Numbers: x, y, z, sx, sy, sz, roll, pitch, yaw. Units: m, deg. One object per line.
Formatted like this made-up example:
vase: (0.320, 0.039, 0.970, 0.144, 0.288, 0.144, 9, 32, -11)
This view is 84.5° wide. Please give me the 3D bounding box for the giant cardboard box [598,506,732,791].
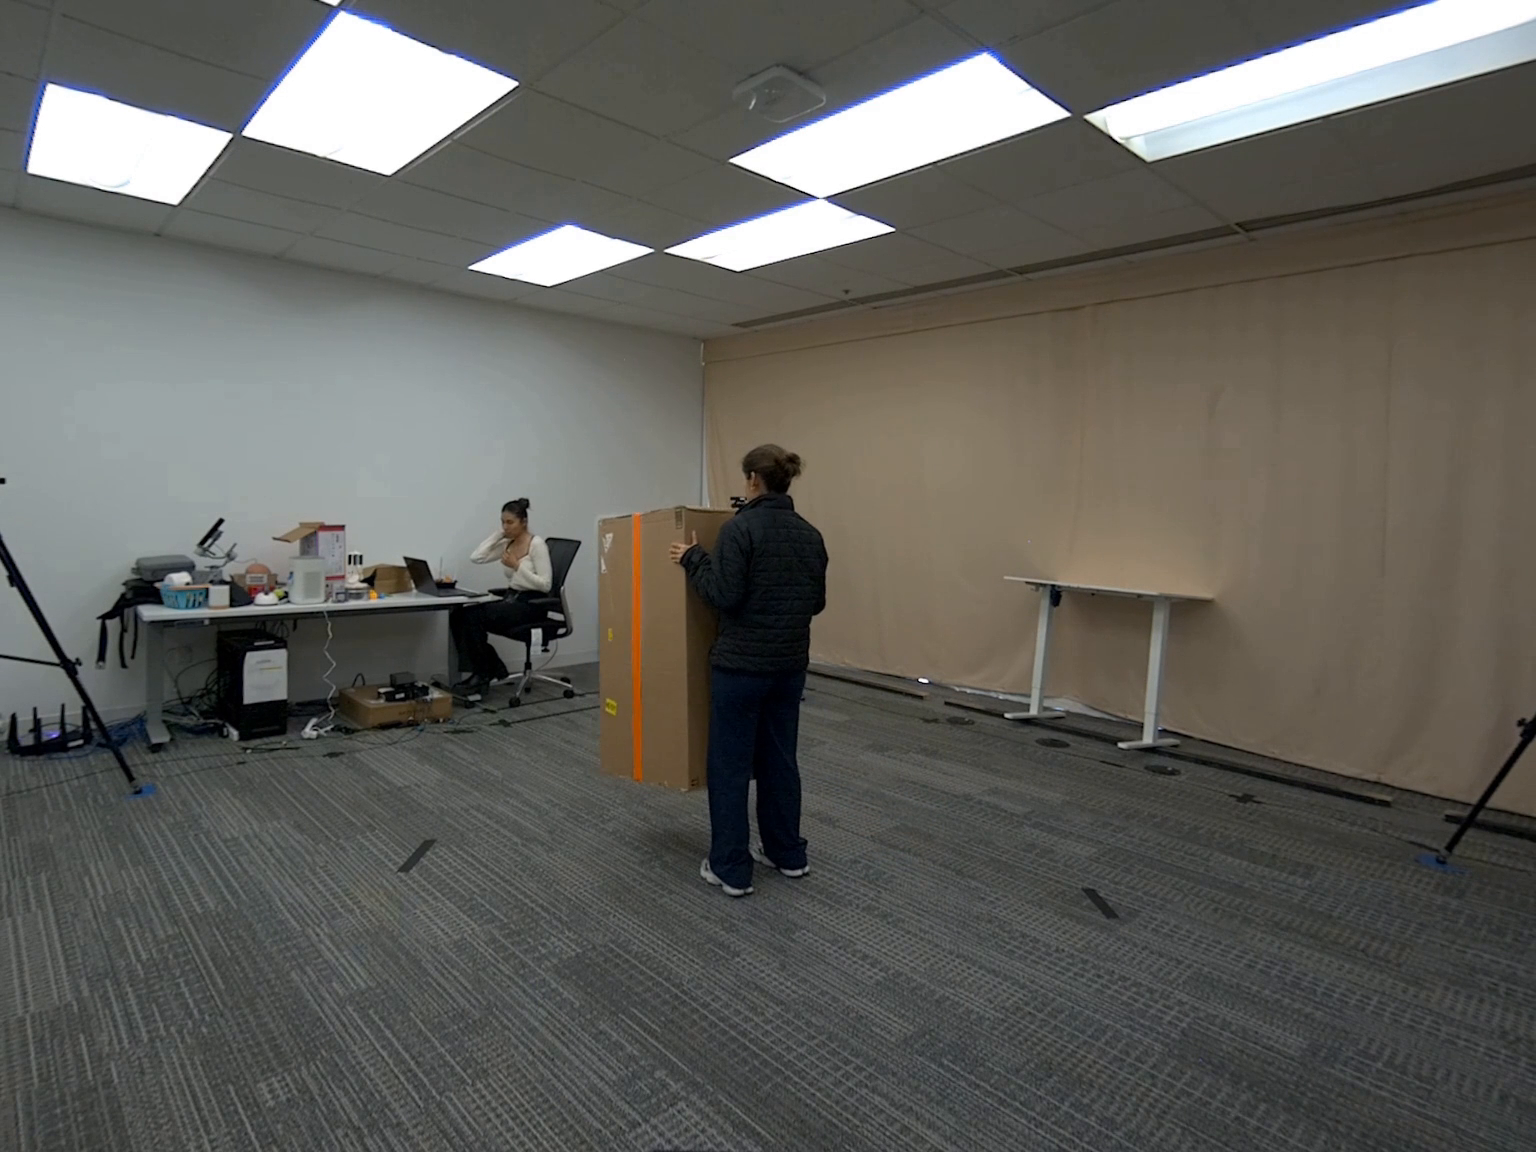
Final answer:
giant cardboard box: (-0.347, 0.275, 3.350, 0.416, 1.029, 0.589, 2, -6, -41)
